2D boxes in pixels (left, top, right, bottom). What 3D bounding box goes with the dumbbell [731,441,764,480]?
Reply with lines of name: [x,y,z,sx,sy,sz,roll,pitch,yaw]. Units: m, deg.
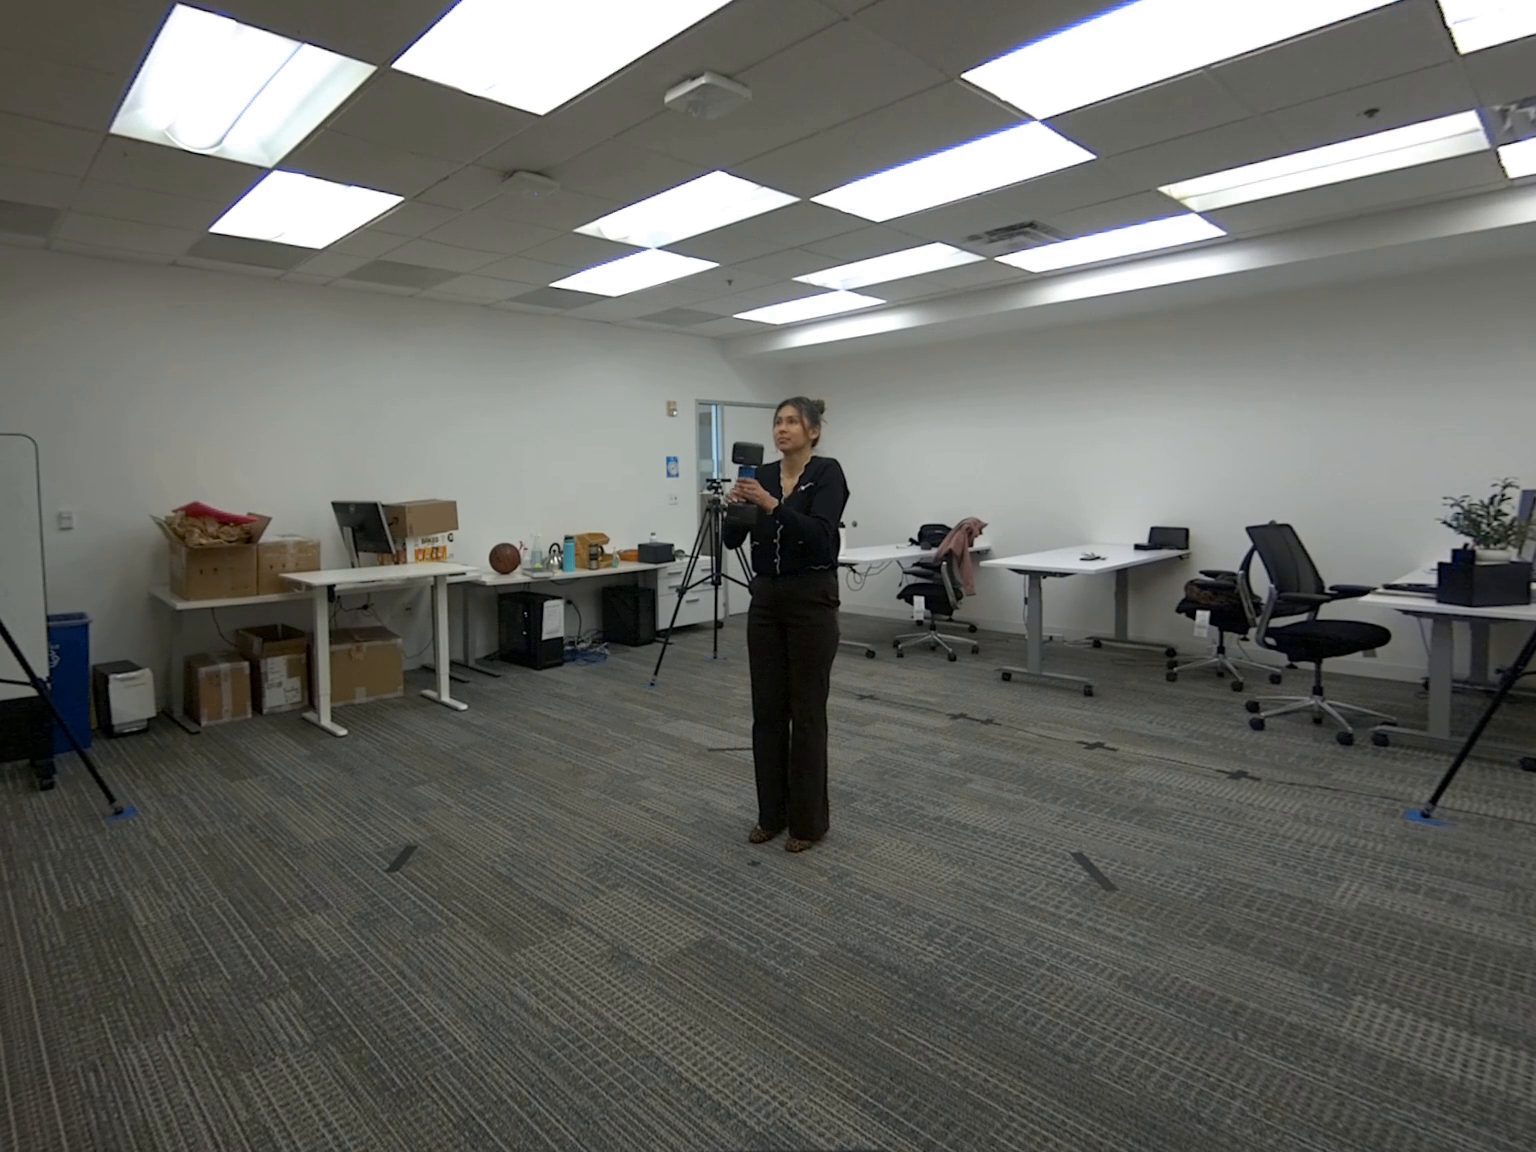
dumbbell: [-0.080,-0.334,3.049,0.120,0.292,0.112,3,8,-25]
